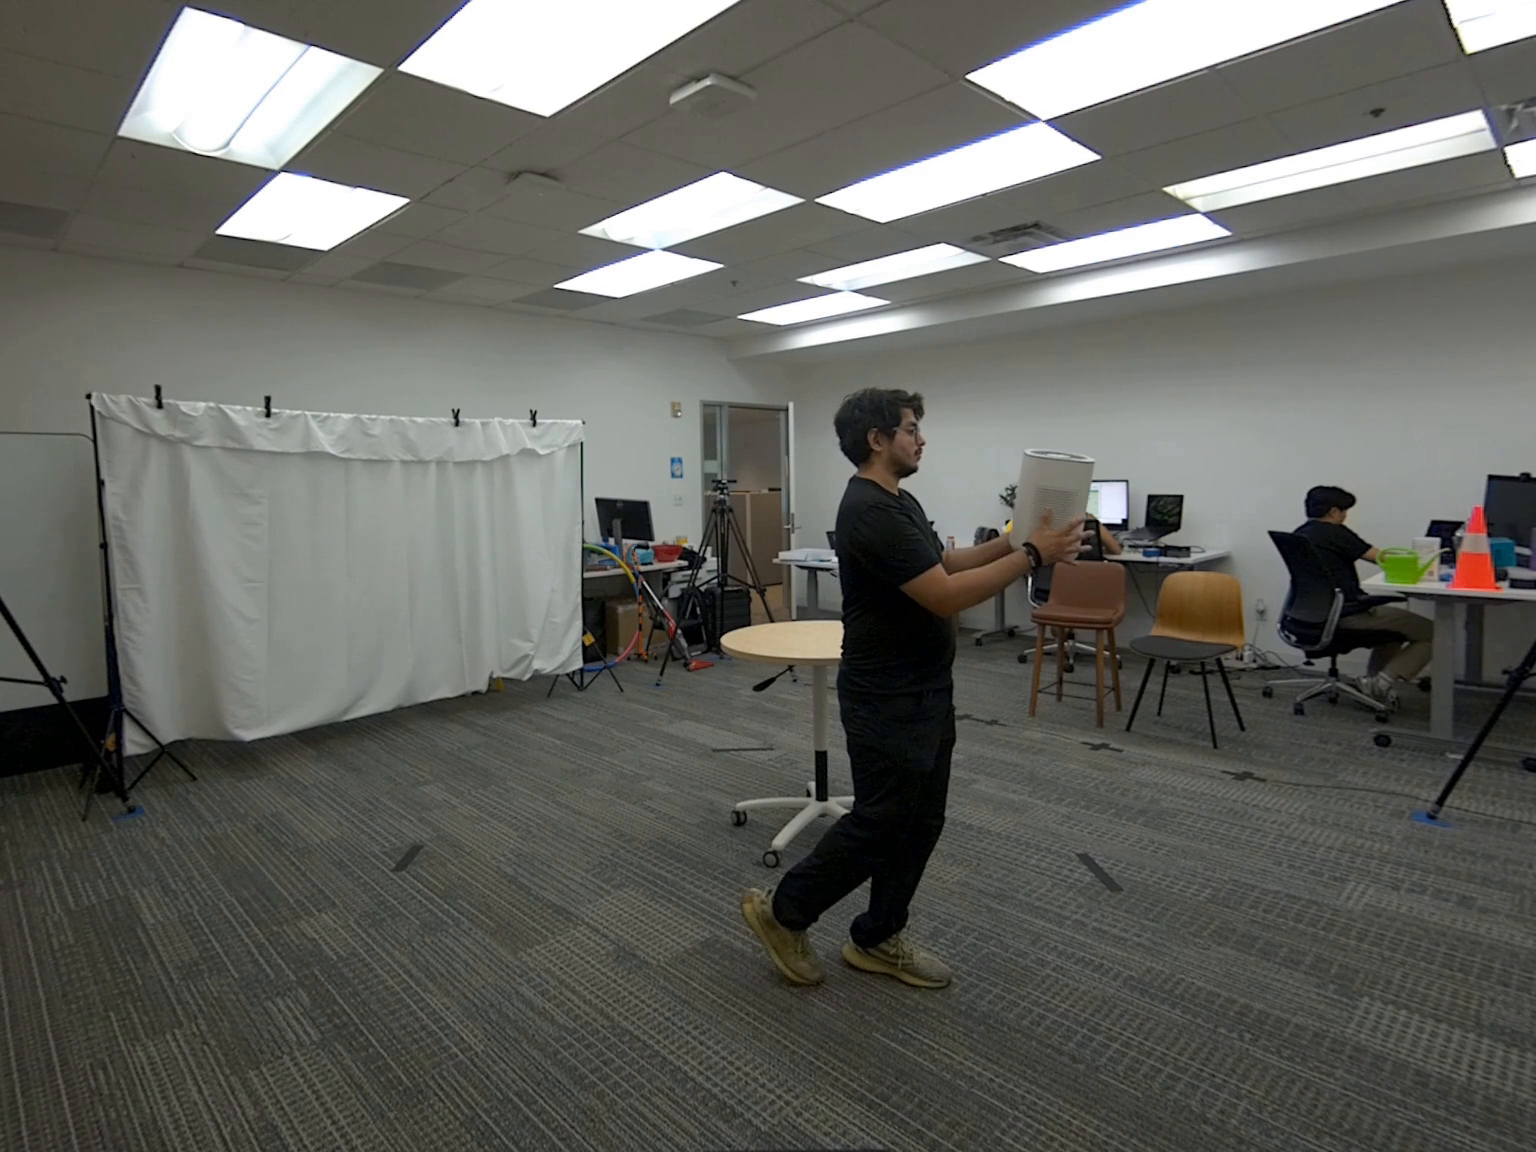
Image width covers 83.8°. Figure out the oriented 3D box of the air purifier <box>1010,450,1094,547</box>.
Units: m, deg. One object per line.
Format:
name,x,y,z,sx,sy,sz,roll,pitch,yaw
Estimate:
air purifier,0.735,-0.184,2.226,0.174,0.262,0.171,8,14,11
